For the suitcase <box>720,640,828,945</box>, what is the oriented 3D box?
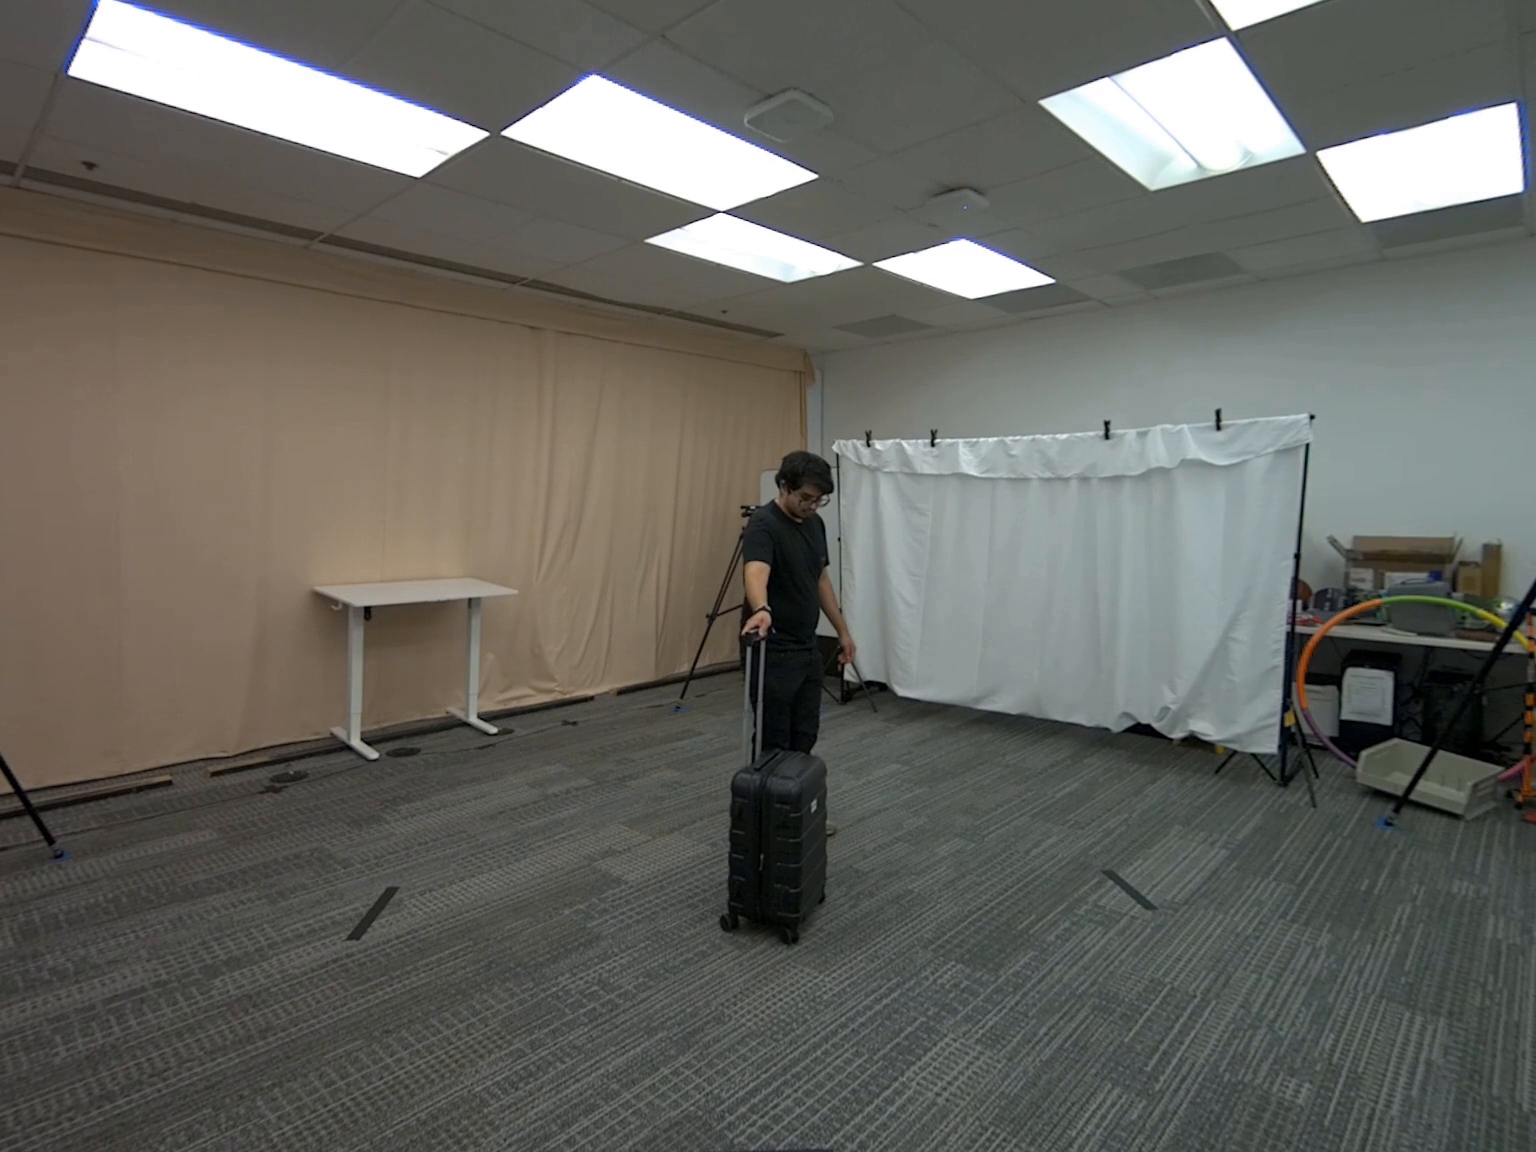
[{"bbox_3d":[0.052,0.680,2.821,0.263,0.976,0.377,6,5,19],"label":"suitcase"}]
